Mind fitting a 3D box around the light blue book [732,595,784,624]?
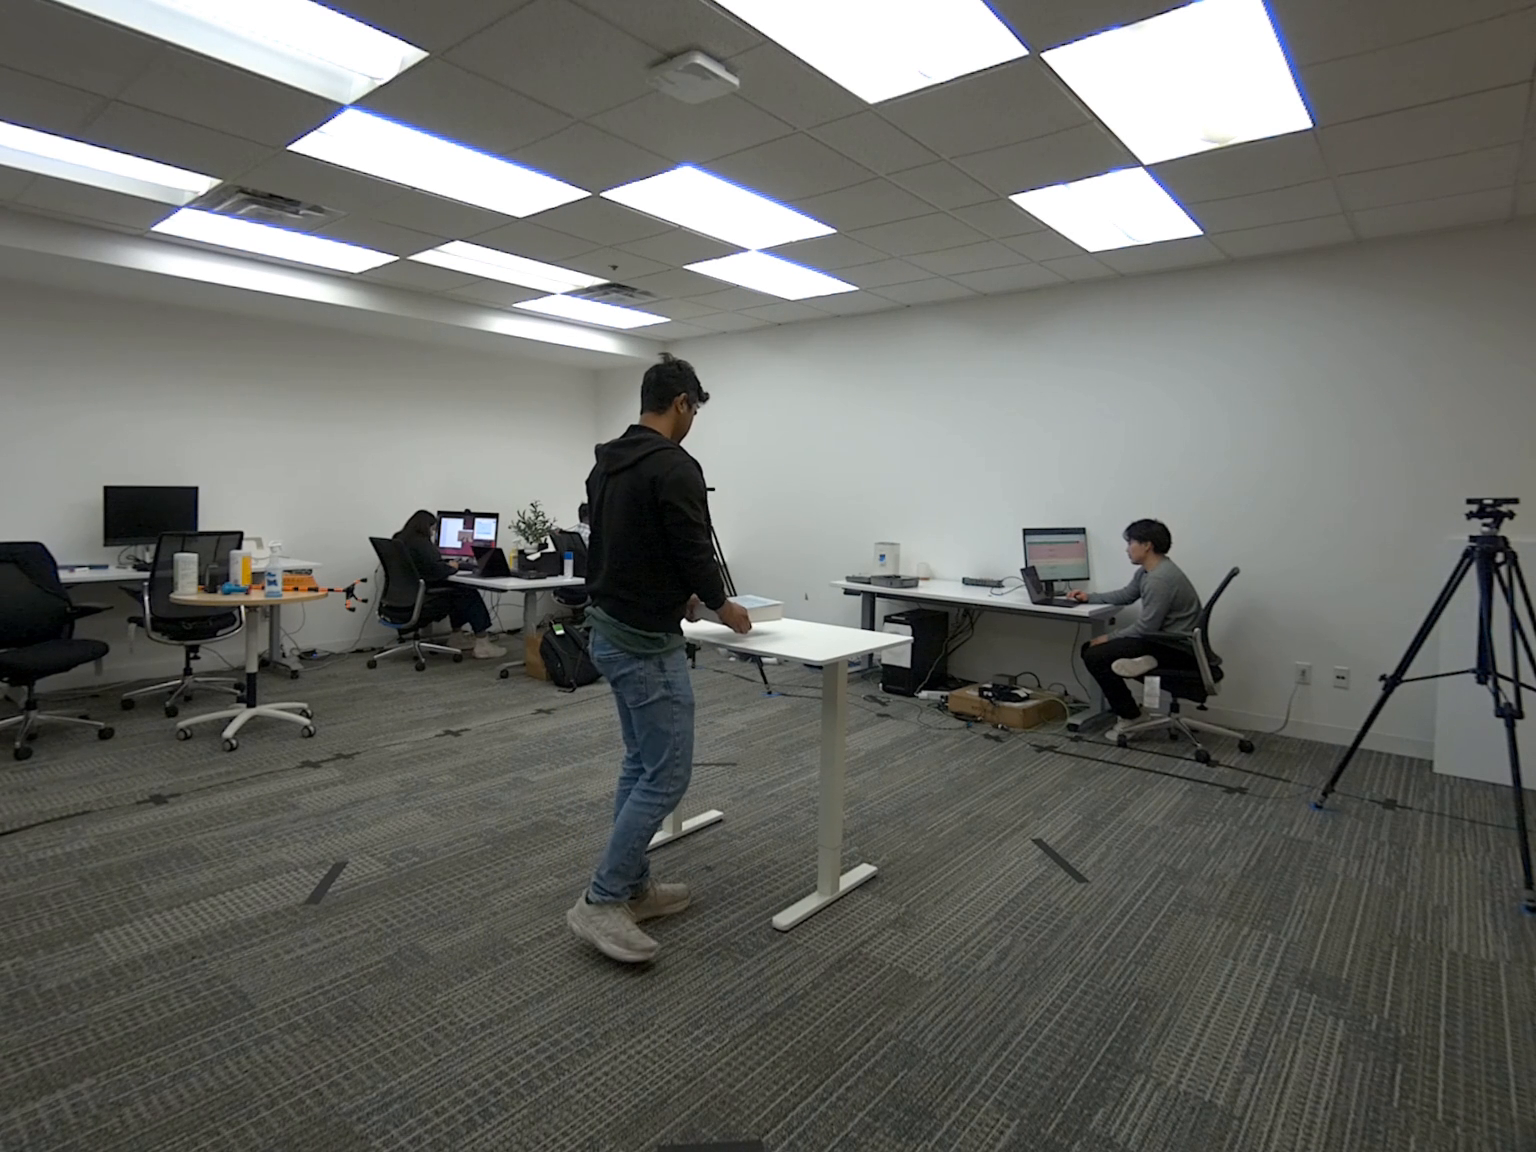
[{"bbox_3d":[-0.101,0.119,2.959,0.198,0.058,0.253,10,11,44],"label":"light blue book"}]
